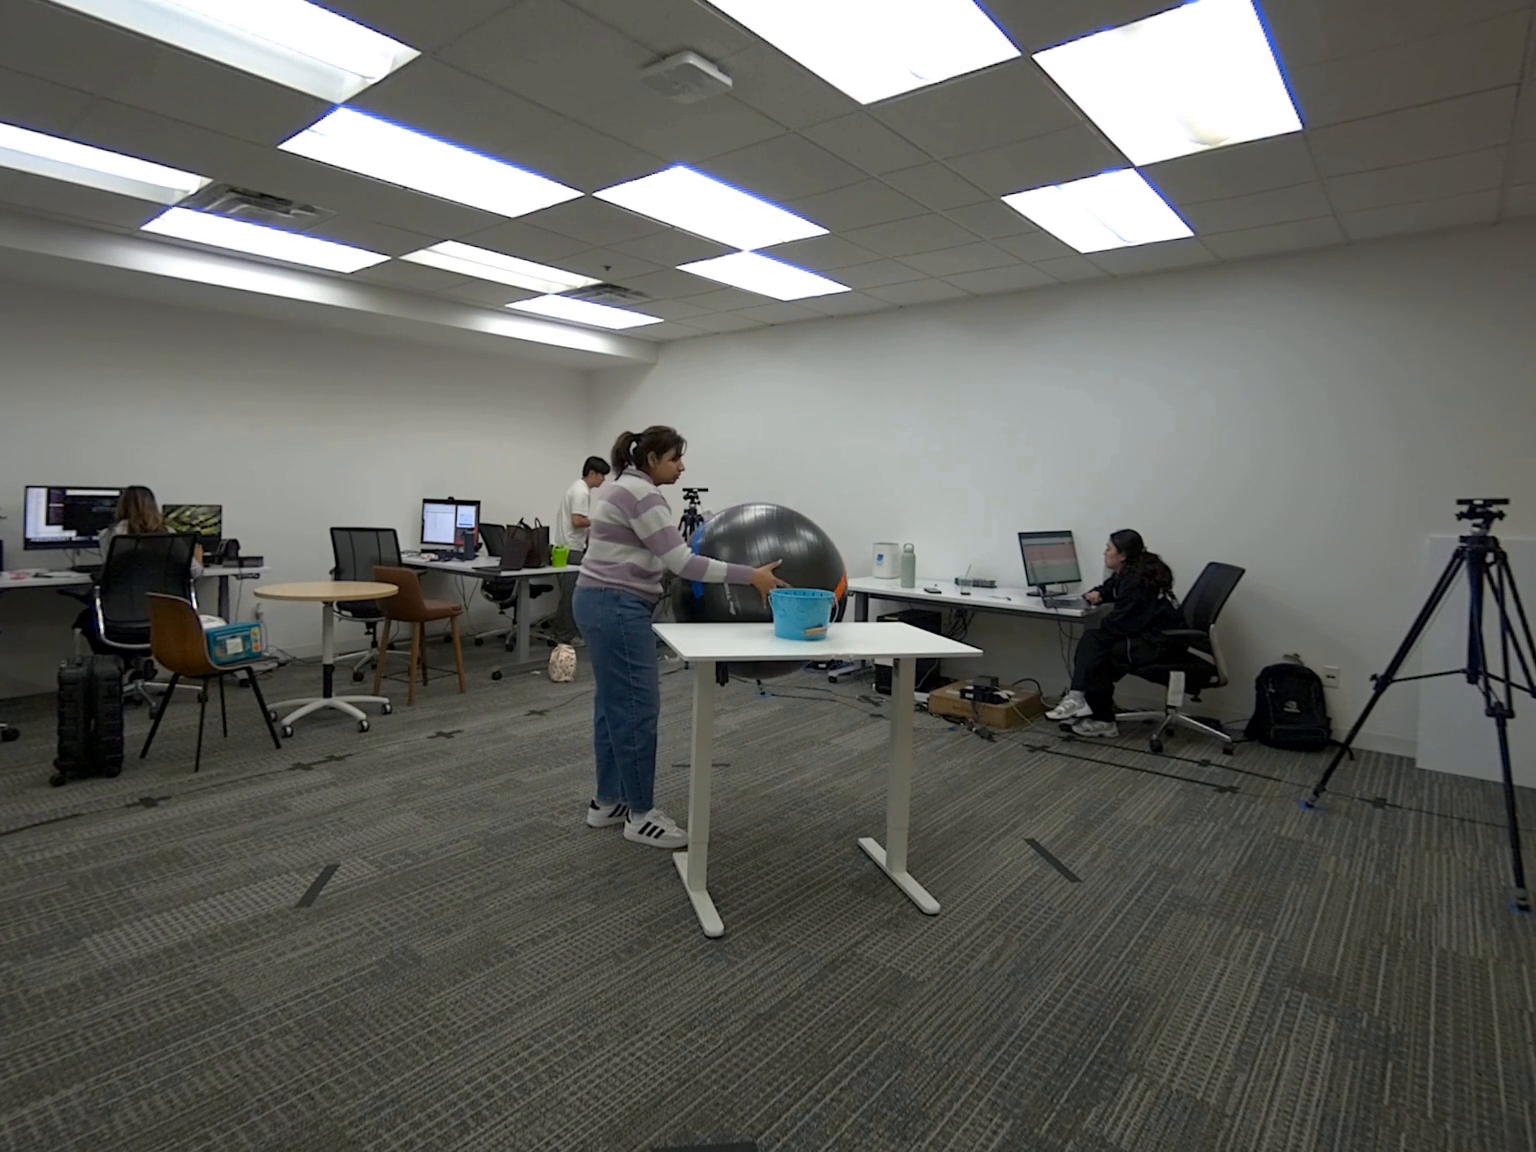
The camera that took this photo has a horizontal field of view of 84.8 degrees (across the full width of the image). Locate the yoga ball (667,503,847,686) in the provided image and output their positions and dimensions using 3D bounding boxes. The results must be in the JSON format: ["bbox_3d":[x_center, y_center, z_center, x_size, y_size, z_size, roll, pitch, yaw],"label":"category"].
[{"bbox_3d":[-0.048,0.059,3.688,0.757,0.755,0.762,1,4,-2],"label":"yoga ball"}]
